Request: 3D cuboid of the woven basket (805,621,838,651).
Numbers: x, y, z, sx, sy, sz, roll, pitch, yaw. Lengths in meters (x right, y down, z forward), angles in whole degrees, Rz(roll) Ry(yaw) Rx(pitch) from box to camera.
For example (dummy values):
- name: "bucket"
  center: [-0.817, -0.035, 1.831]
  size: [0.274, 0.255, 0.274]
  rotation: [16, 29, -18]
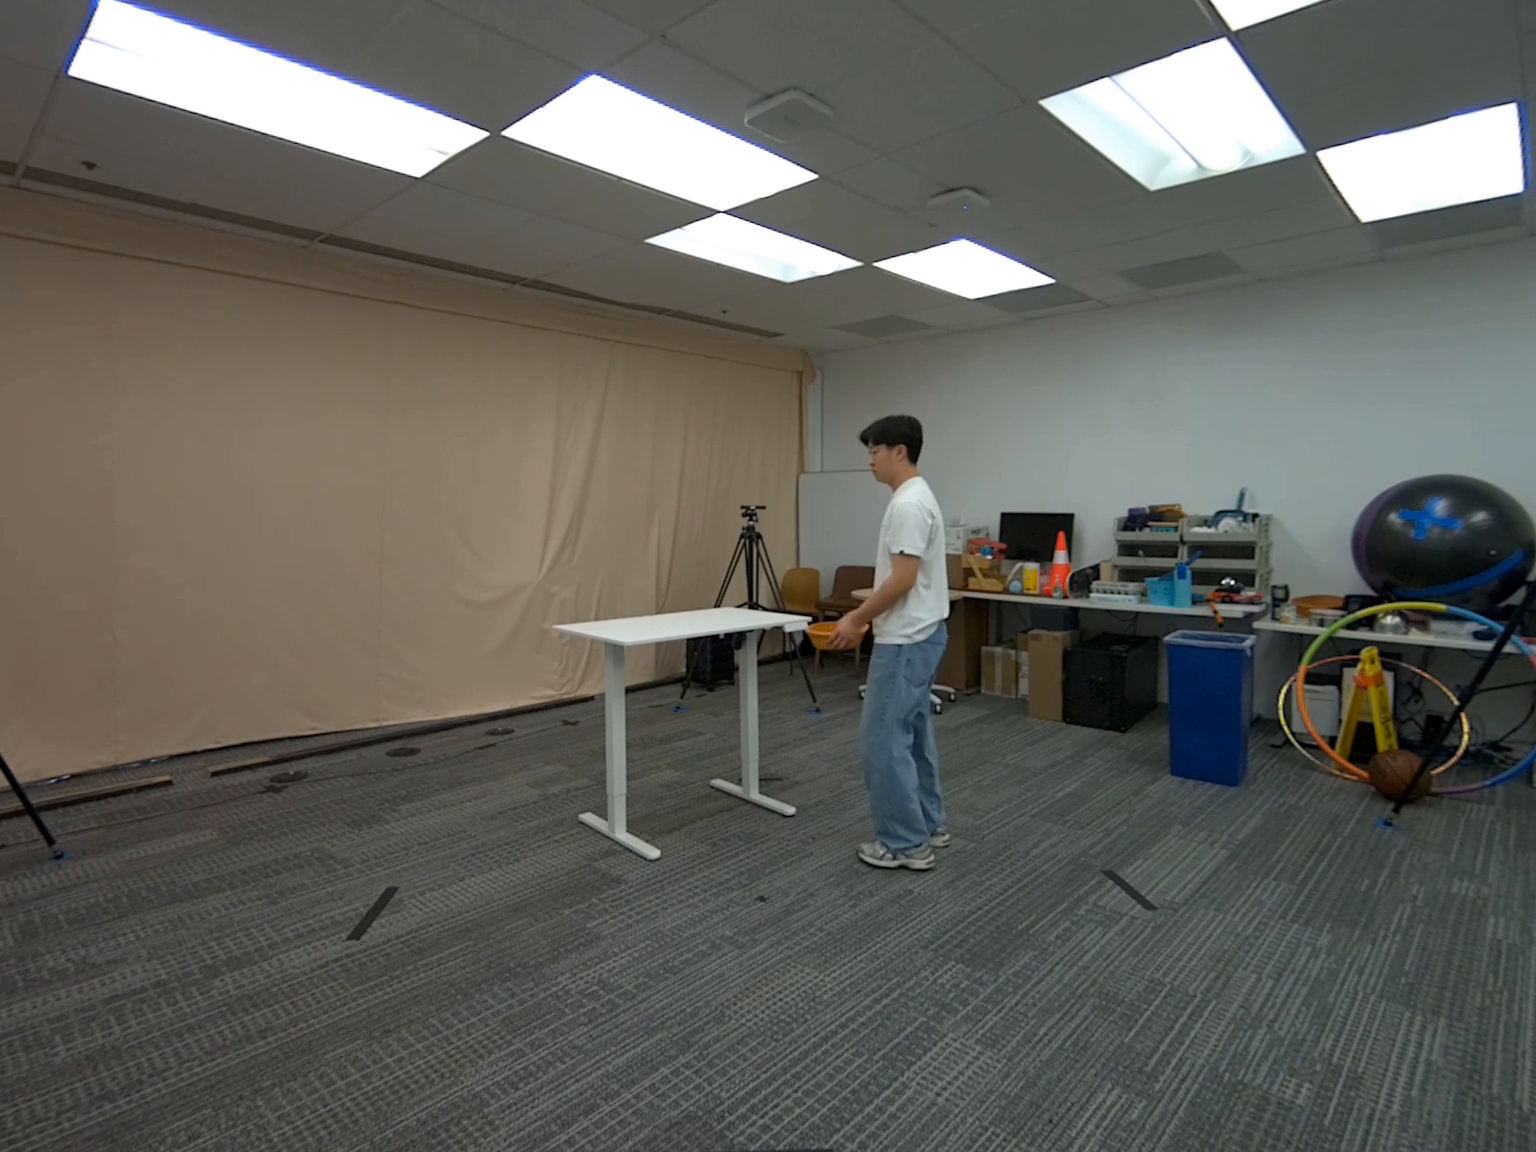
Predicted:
- name: "woven basket"
  center: [0.323, 0.245, 3.451]
  size: [0.260, 0.073, 0.341]
  rotation: [0, 5, 34]
